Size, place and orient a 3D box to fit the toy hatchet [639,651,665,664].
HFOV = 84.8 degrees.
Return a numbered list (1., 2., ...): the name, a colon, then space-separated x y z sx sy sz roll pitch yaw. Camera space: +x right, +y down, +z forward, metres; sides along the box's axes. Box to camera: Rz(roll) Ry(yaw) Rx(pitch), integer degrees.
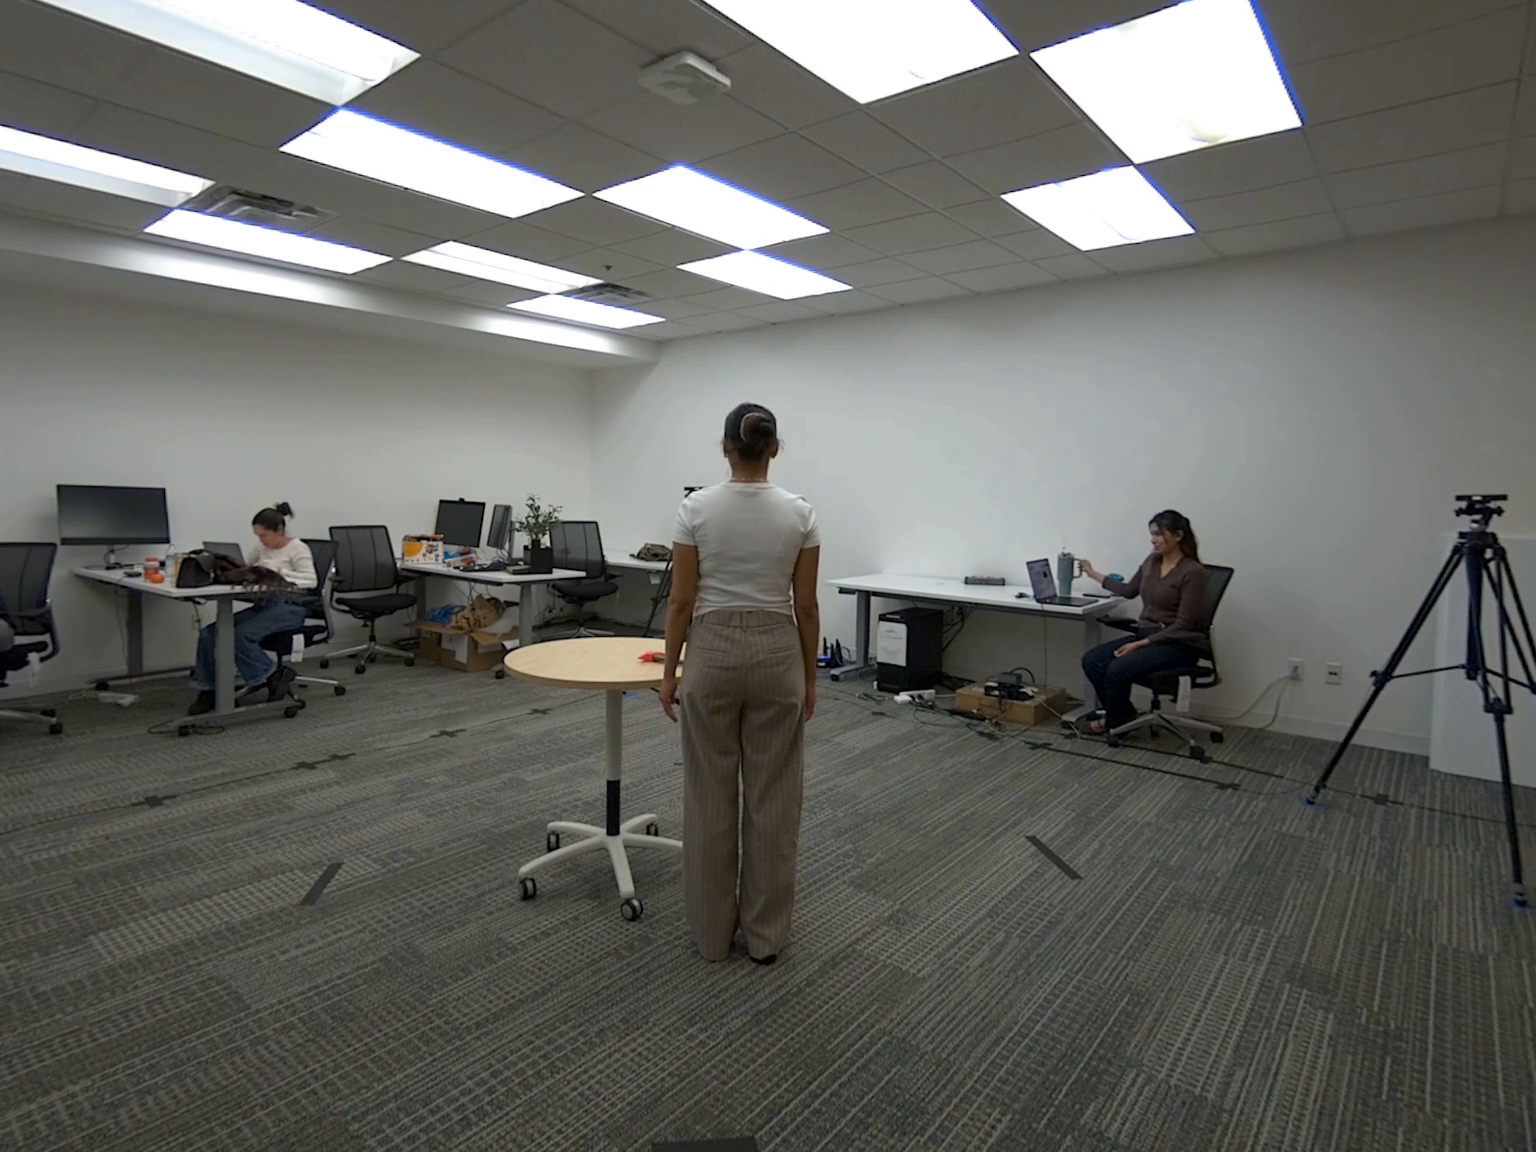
1. toy hatchet: -0.318 0.289 2.940 0.276 0.029 0.128 5 2 19
